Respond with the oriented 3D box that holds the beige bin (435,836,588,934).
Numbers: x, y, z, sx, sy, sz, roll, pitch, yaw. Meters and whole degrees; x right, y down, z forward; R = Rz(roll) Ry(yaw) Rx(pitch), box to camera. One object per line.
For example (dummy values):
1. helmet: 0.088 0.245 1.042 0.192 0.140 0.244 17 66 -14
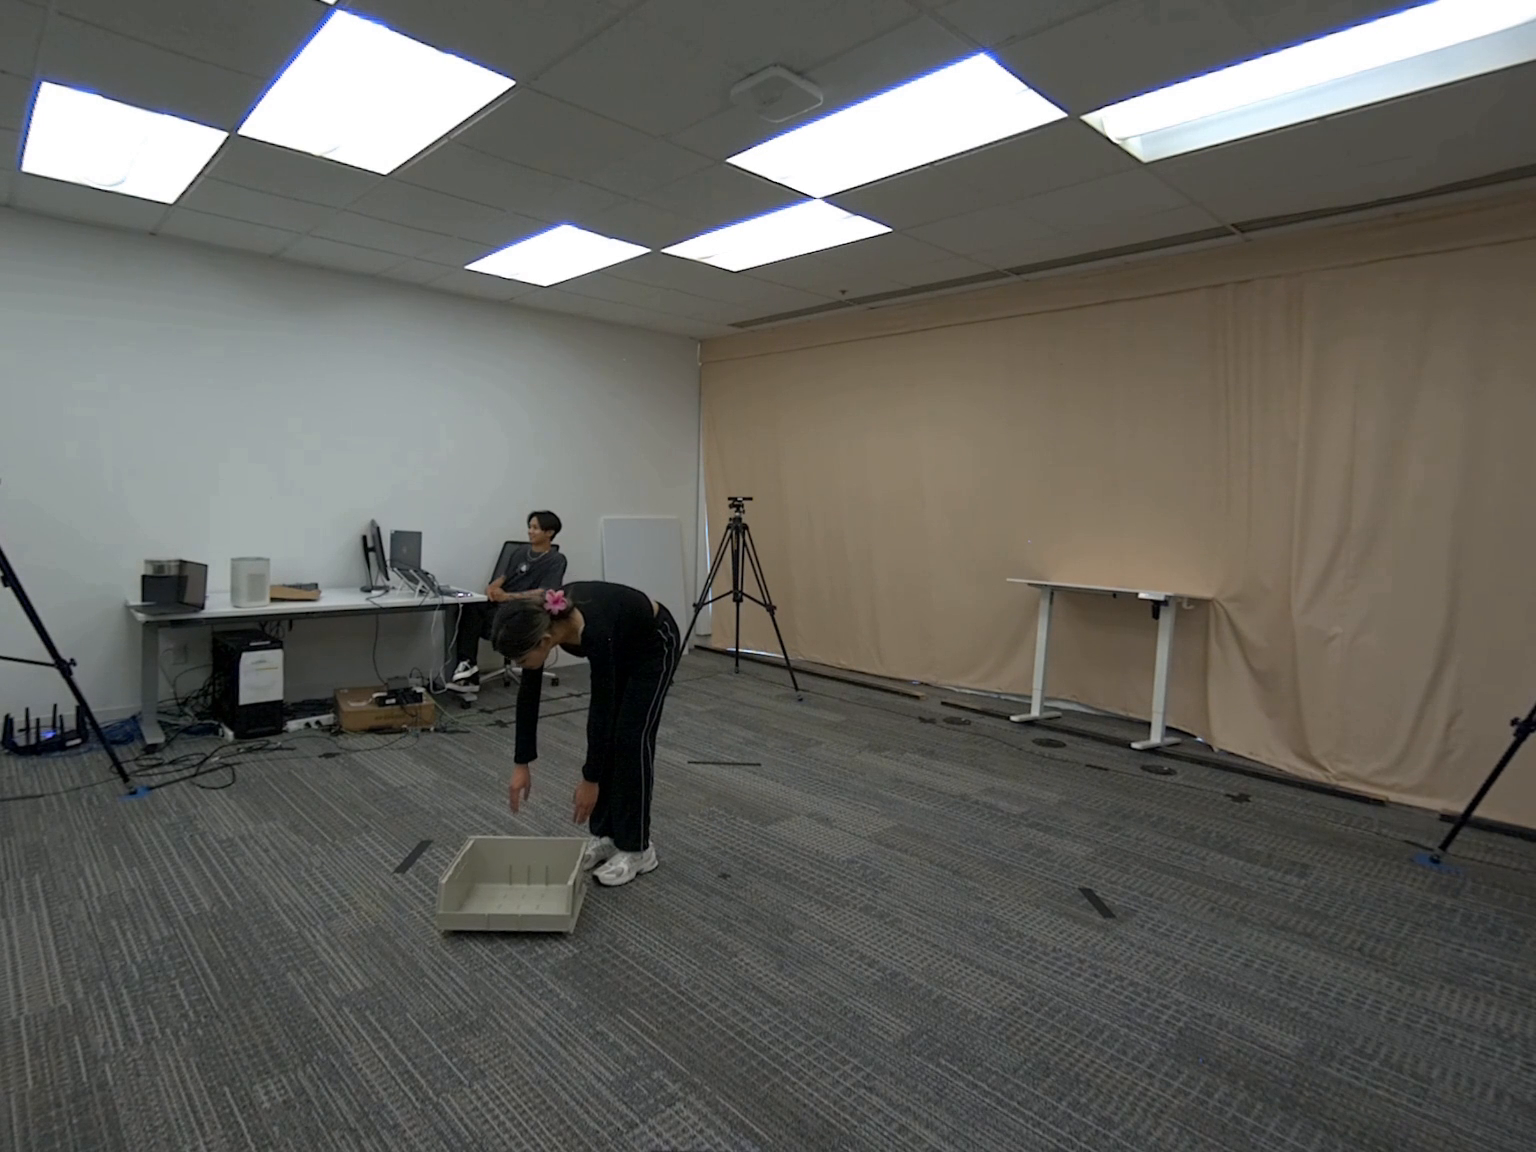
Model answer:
1. beige bin: -0.841 1.036 2.791 0.421 0.188 0.379 0 4 -3
